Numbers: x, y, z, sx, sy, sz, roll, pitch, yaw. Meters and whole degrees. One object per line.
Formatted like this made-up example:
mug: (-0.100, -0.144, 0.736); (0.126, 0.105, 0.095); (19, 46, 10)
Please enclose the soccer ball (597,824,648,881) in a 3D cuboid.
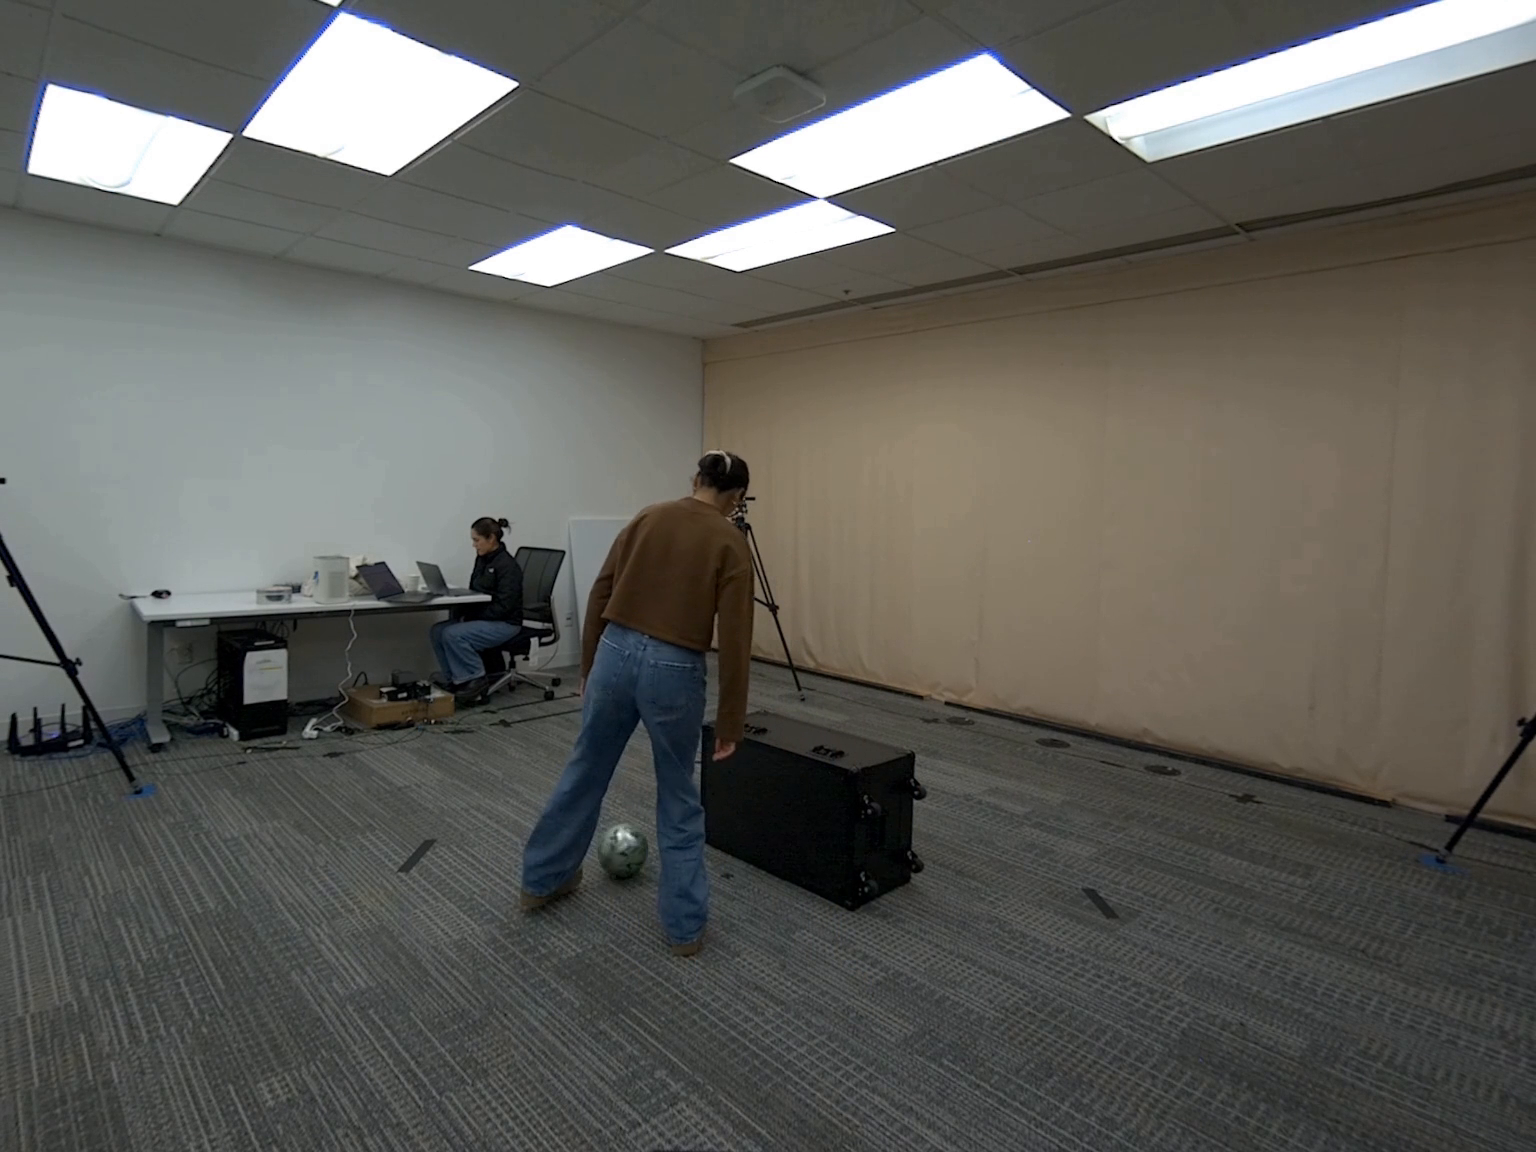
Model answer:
soccer ball: (-0.531, 1.000, 3.084); (0.187, 0.187, 0.188); (1, 4, -1)
